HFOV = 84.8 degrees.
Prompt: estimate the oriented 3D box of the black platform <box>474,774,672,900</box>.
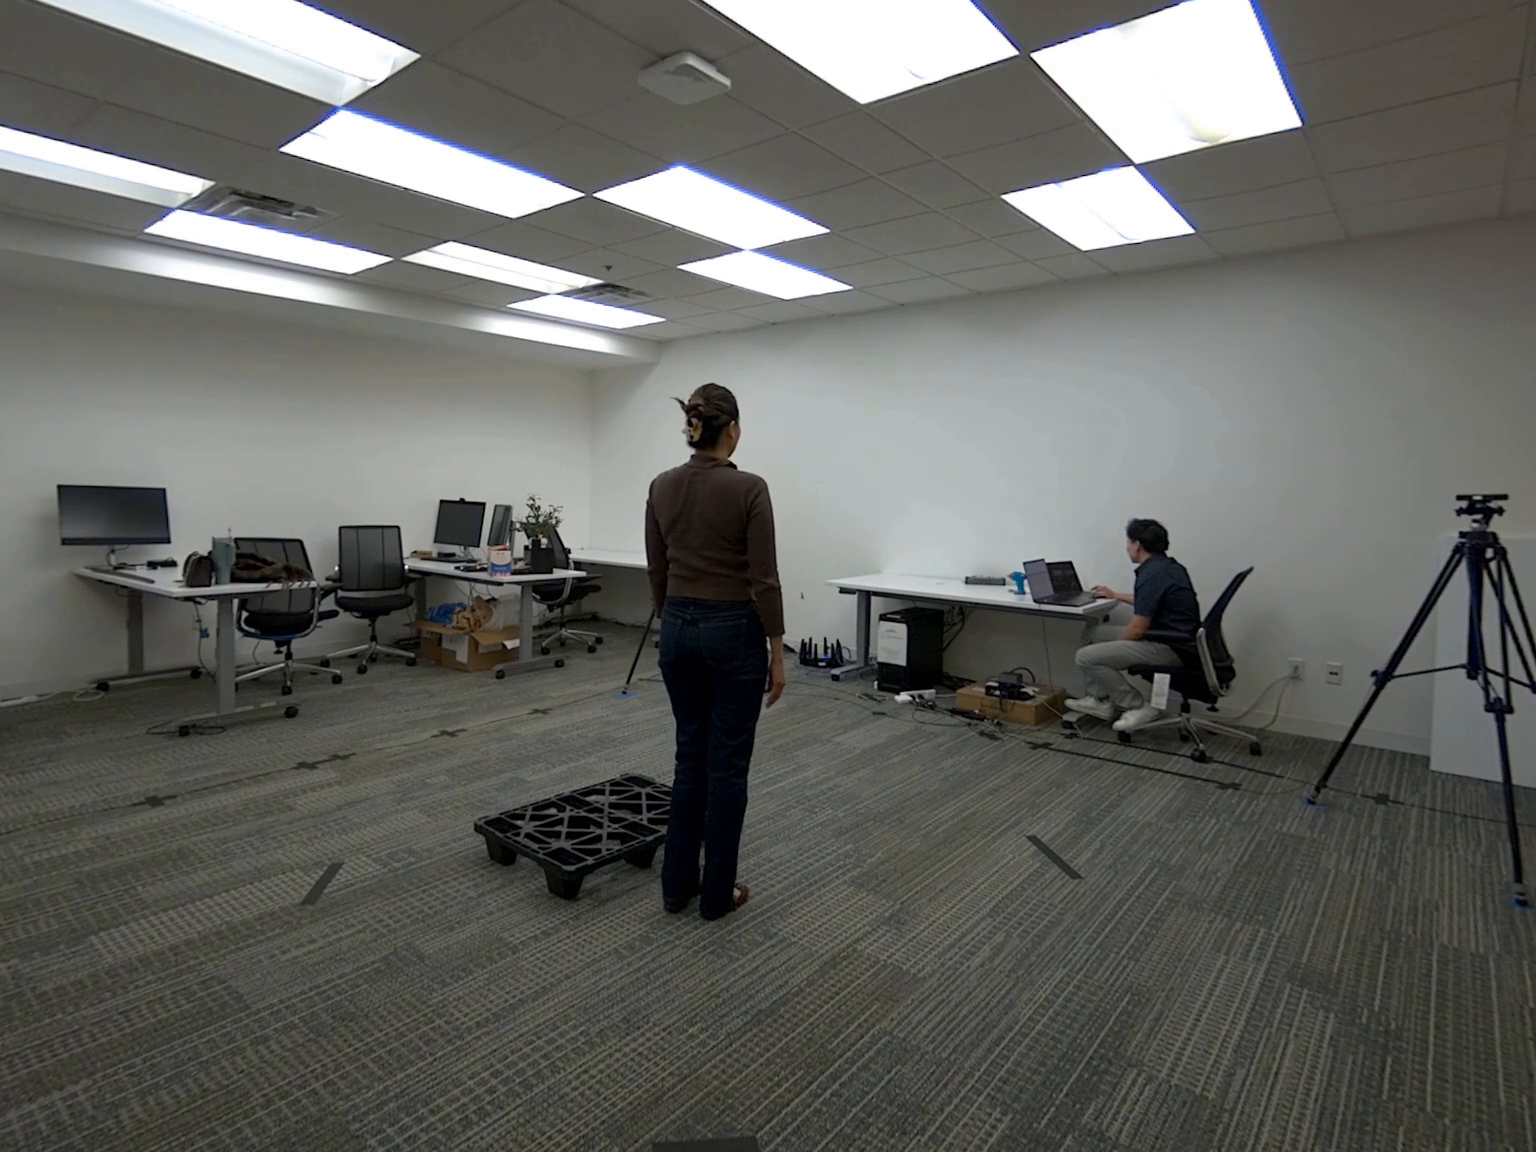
[{"bbox_3d":[-0.628,0.977,3.266,0.626,0.143,0.782,6,8,41],"label":"black platform"}]
